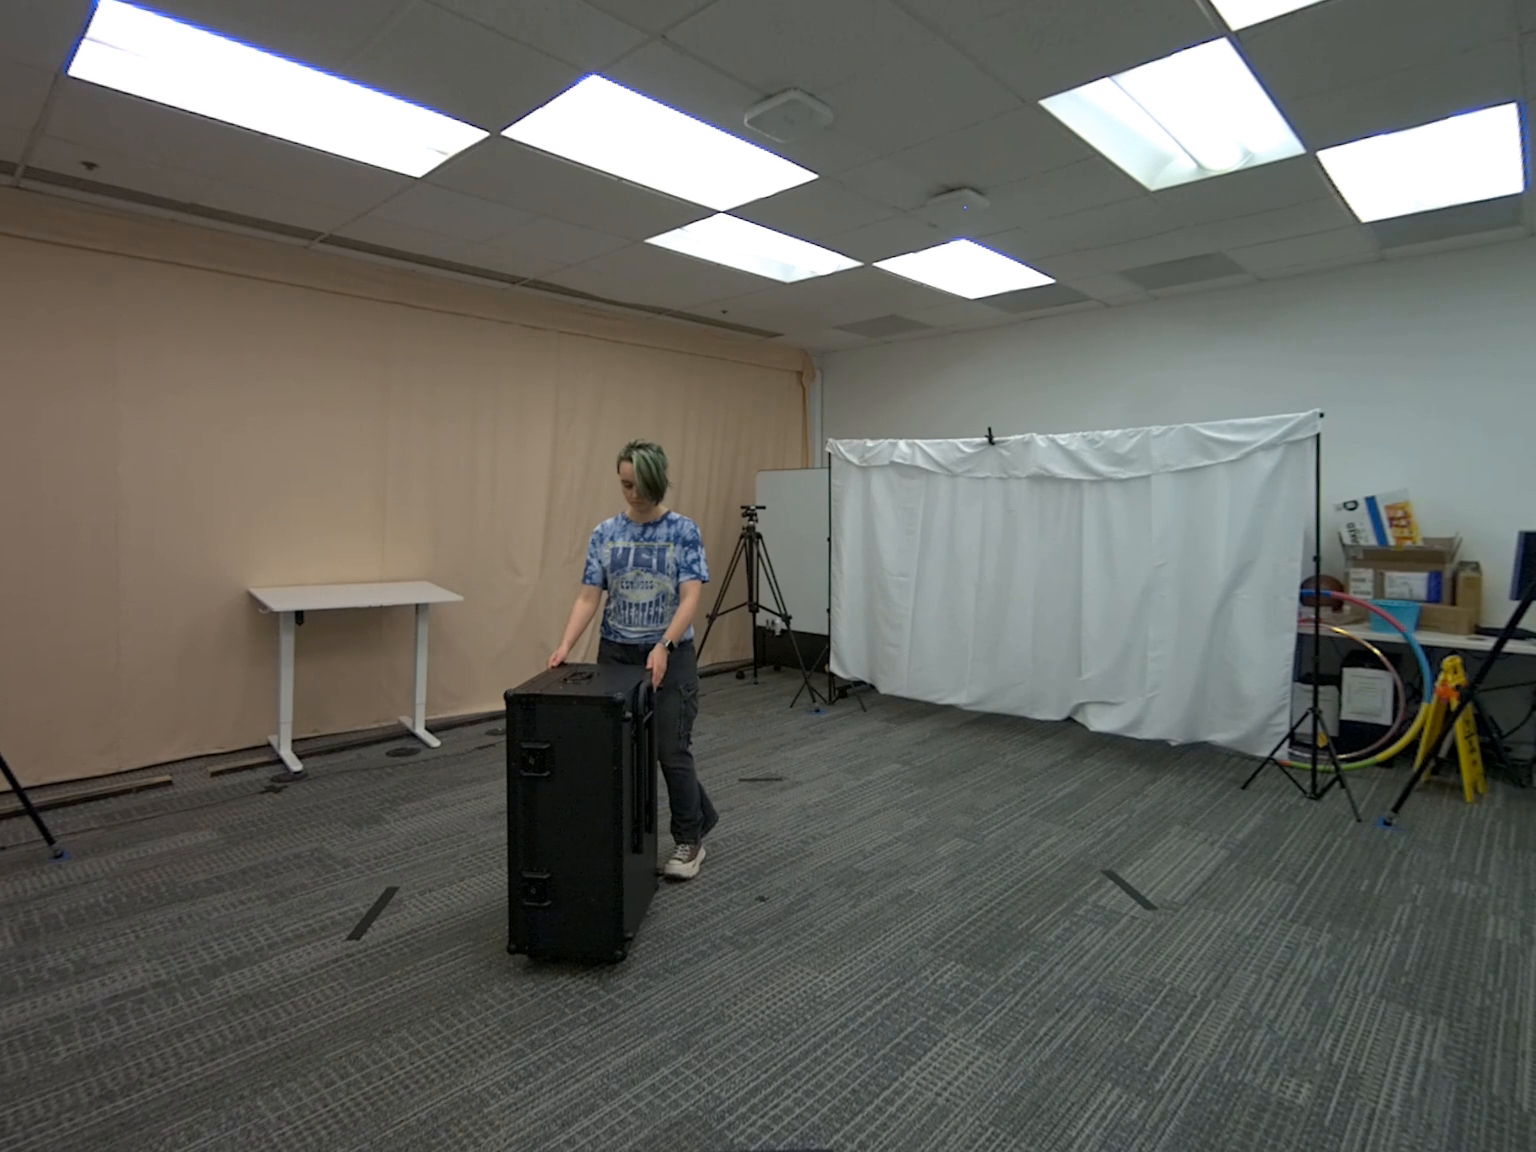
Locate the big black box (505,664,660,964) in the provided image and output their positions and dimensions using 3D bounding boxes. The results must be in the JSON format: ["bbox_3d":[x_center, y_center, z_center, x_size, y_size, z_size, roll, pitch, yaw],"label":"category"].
[{"bbox_3d":[-0.568,0.748,2.691,0.400,0.860,0.518,1,3,6],"label":"big black box"}]
